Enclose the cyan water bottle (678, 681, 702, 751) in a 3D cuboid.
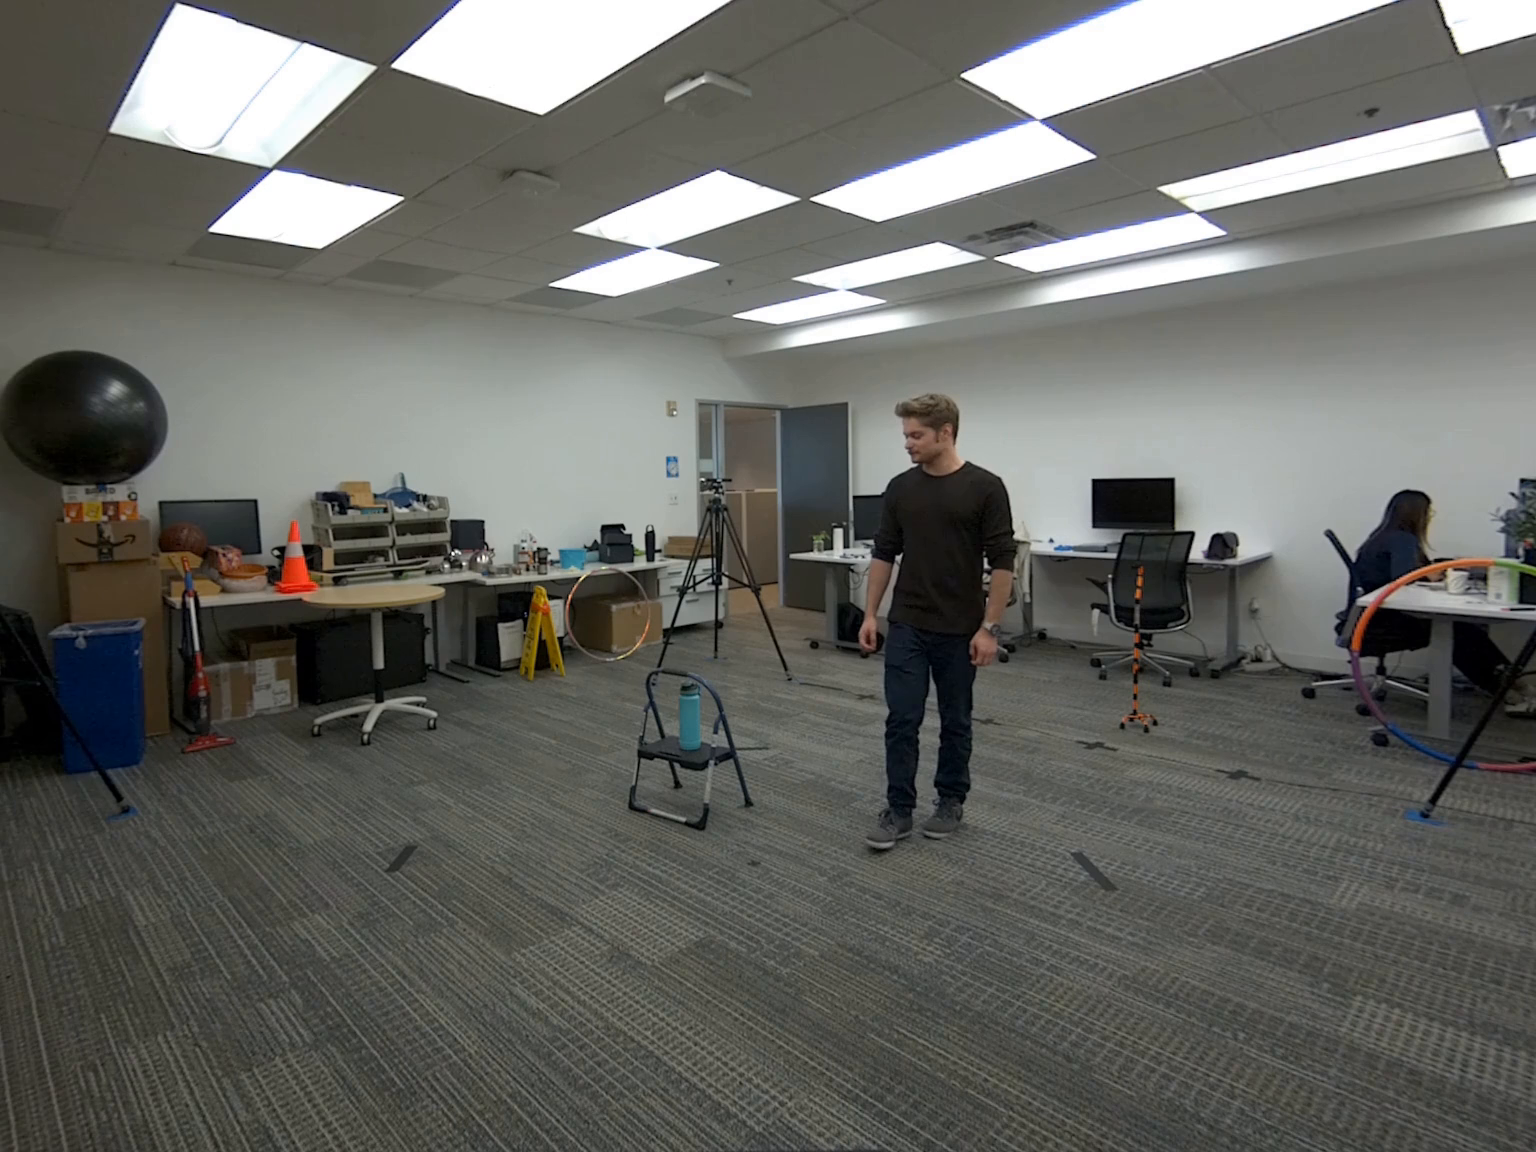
[{"bbox_3d":[-0.328,0.588,3.634,0.092,0.283,0.092,0,1,-2],"label":"cyan water bottle"}]
